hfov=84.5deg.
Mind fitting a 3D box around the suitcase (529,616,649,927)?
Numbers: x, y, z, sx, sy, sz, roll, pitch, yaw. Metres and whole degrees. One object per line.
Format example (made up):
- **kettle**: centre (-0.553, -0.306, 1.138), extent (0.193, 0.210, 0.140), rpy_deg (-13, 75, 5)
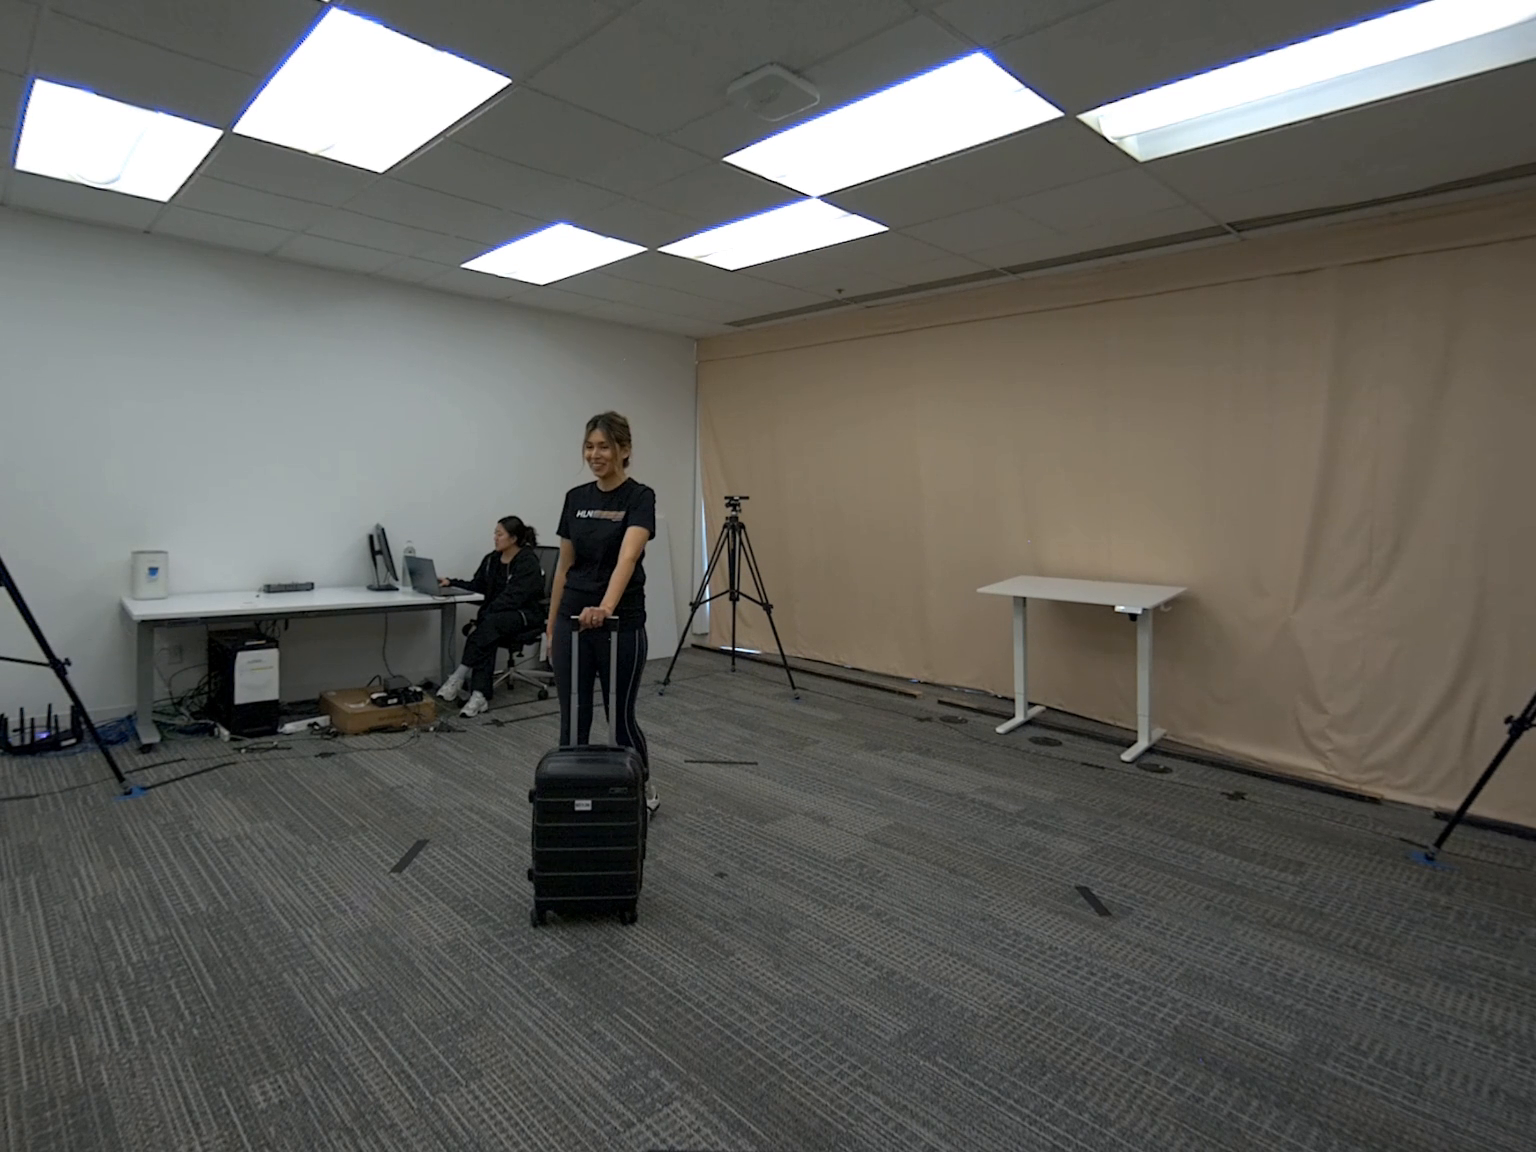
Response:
- **suitcase**: centre (-0.591, 0.646, 2.780), extent (0.383, 0.973, 0.259), rpy_deg (2, 7, -3)
